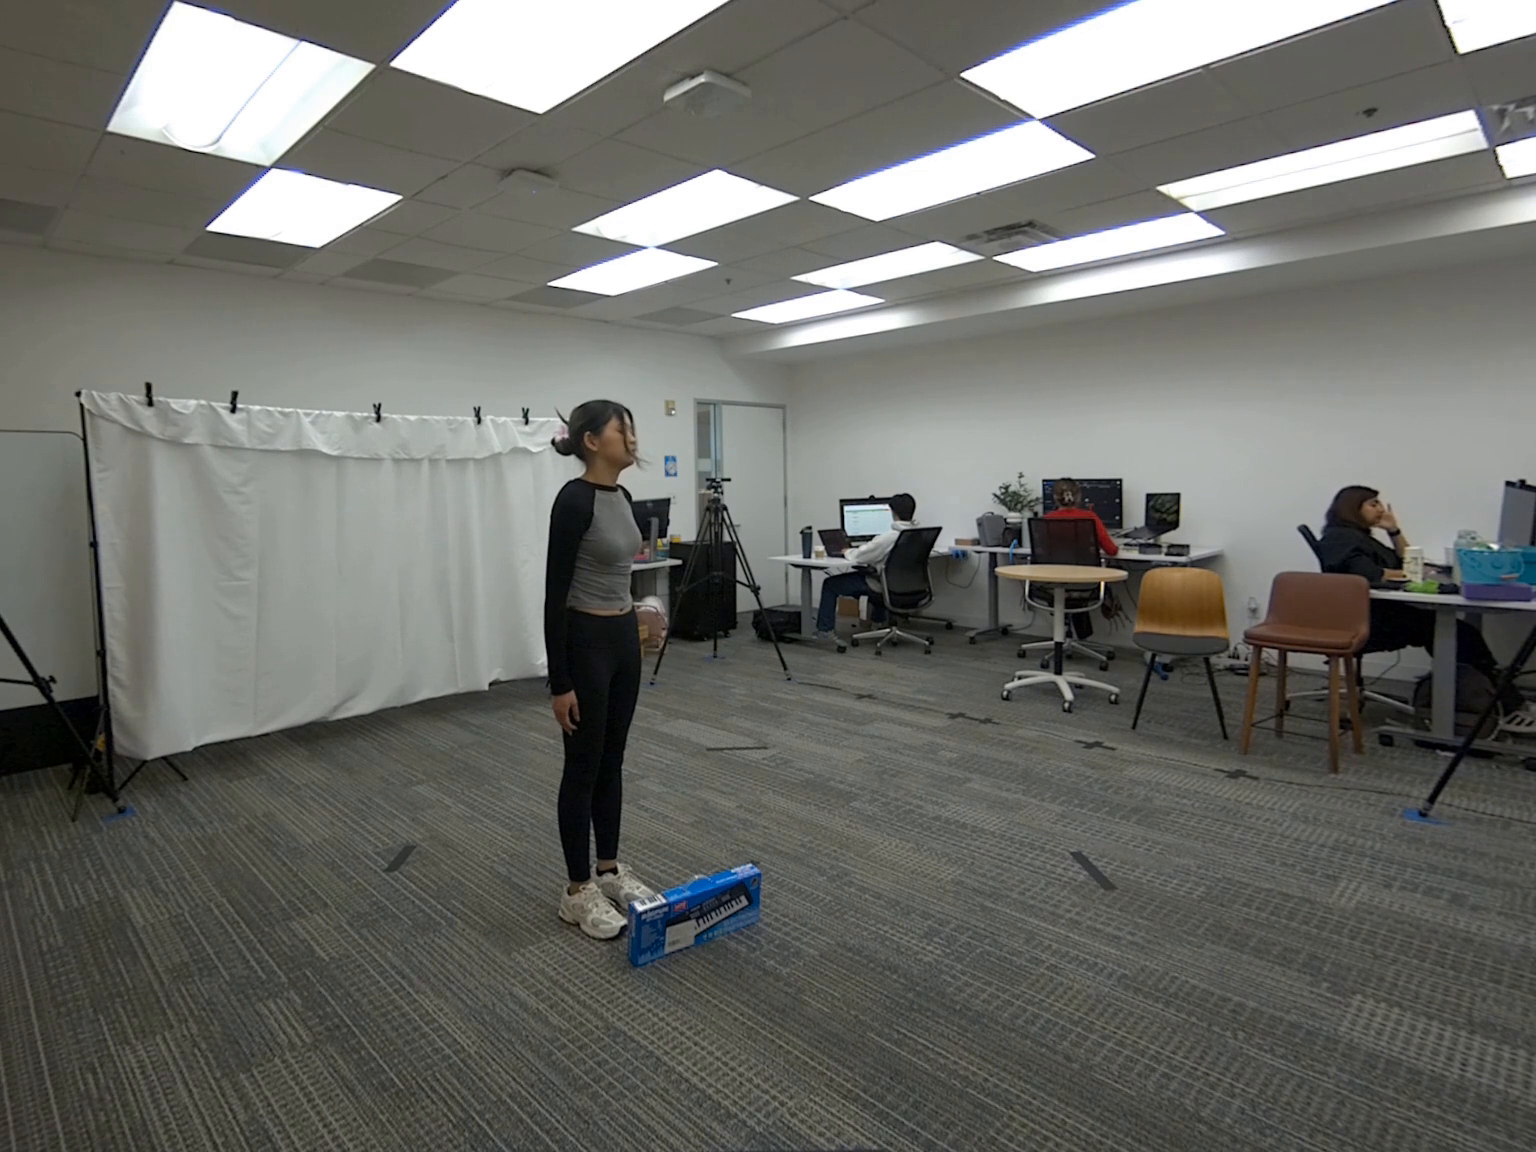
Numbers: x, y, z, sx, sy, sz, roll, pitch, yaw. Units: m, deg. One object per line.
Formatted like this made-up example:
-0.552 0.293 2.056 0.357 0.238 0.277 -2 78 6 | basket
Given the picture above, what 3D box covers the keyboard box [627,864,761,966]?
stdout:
-0.213 1.020 2.583 0.426 0.174 0.061 -6 12 -34 | keyboard box
